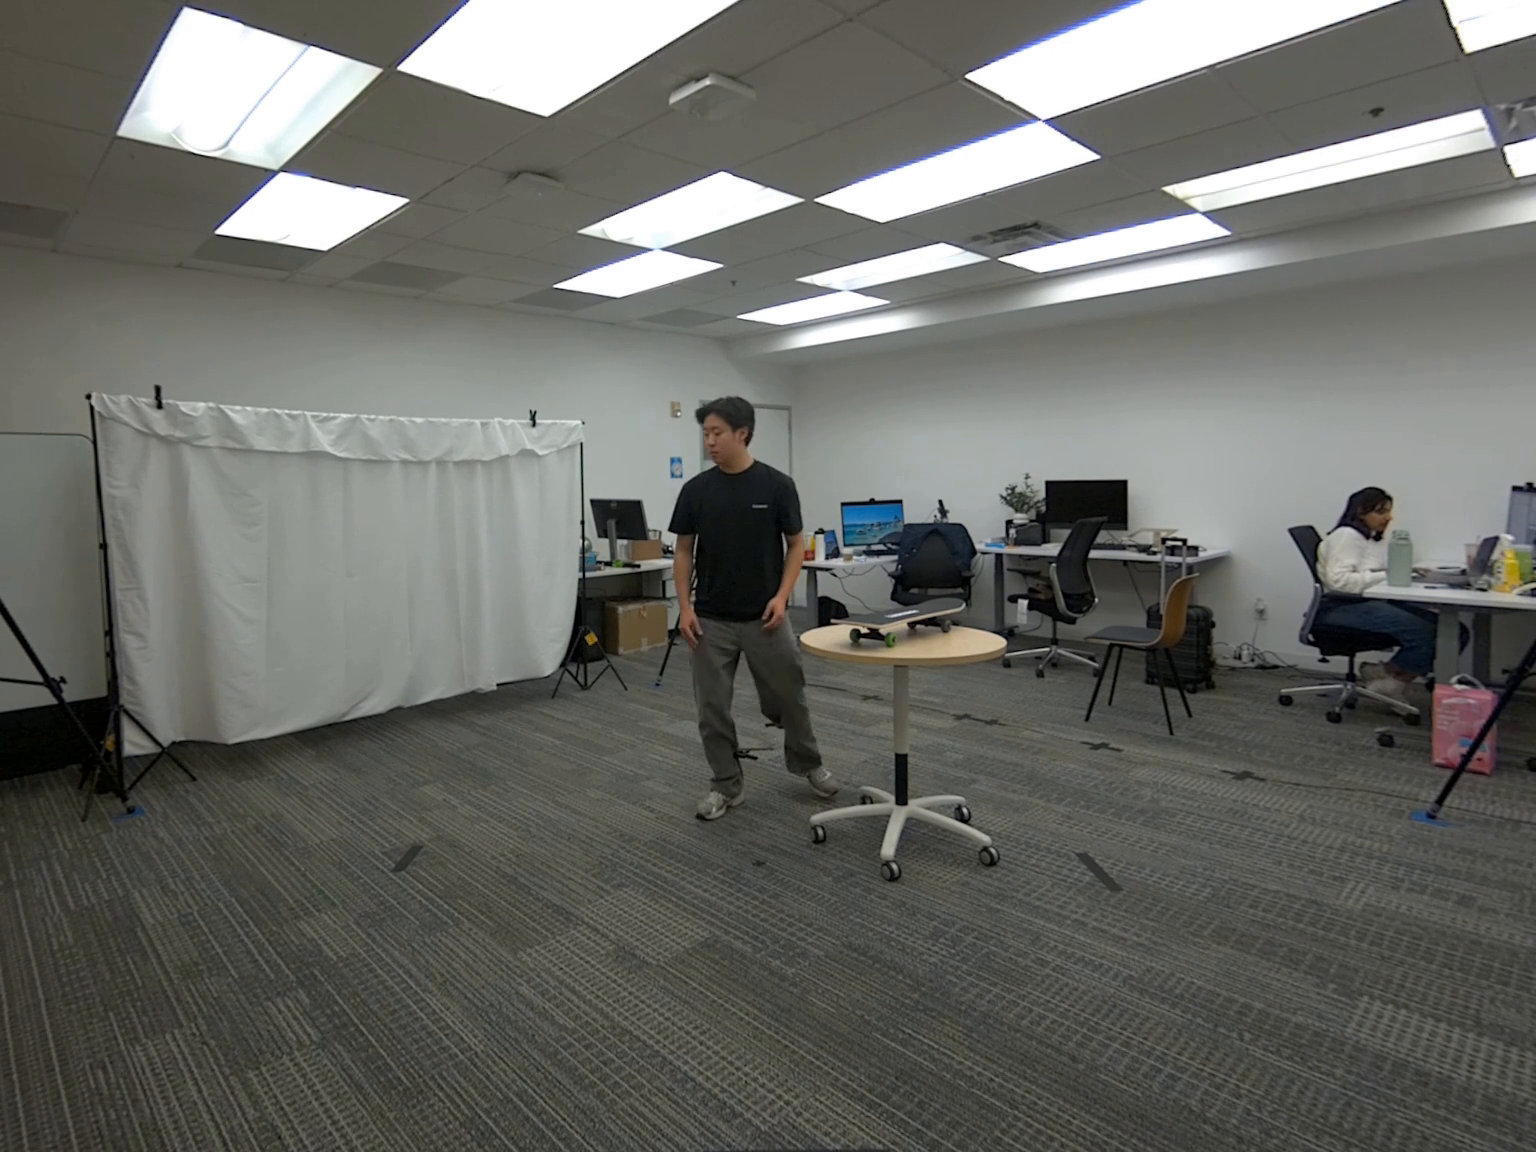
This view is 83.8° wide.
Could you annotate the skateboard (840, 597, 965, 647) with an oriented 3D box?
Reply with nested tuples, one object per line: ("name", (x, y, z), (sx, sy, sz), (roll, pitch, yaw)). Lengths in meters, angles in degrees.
("skateboard", (0.516, 0.184, 3.268), (0.199, 0.110, 0.765), (4, 7, 42))
